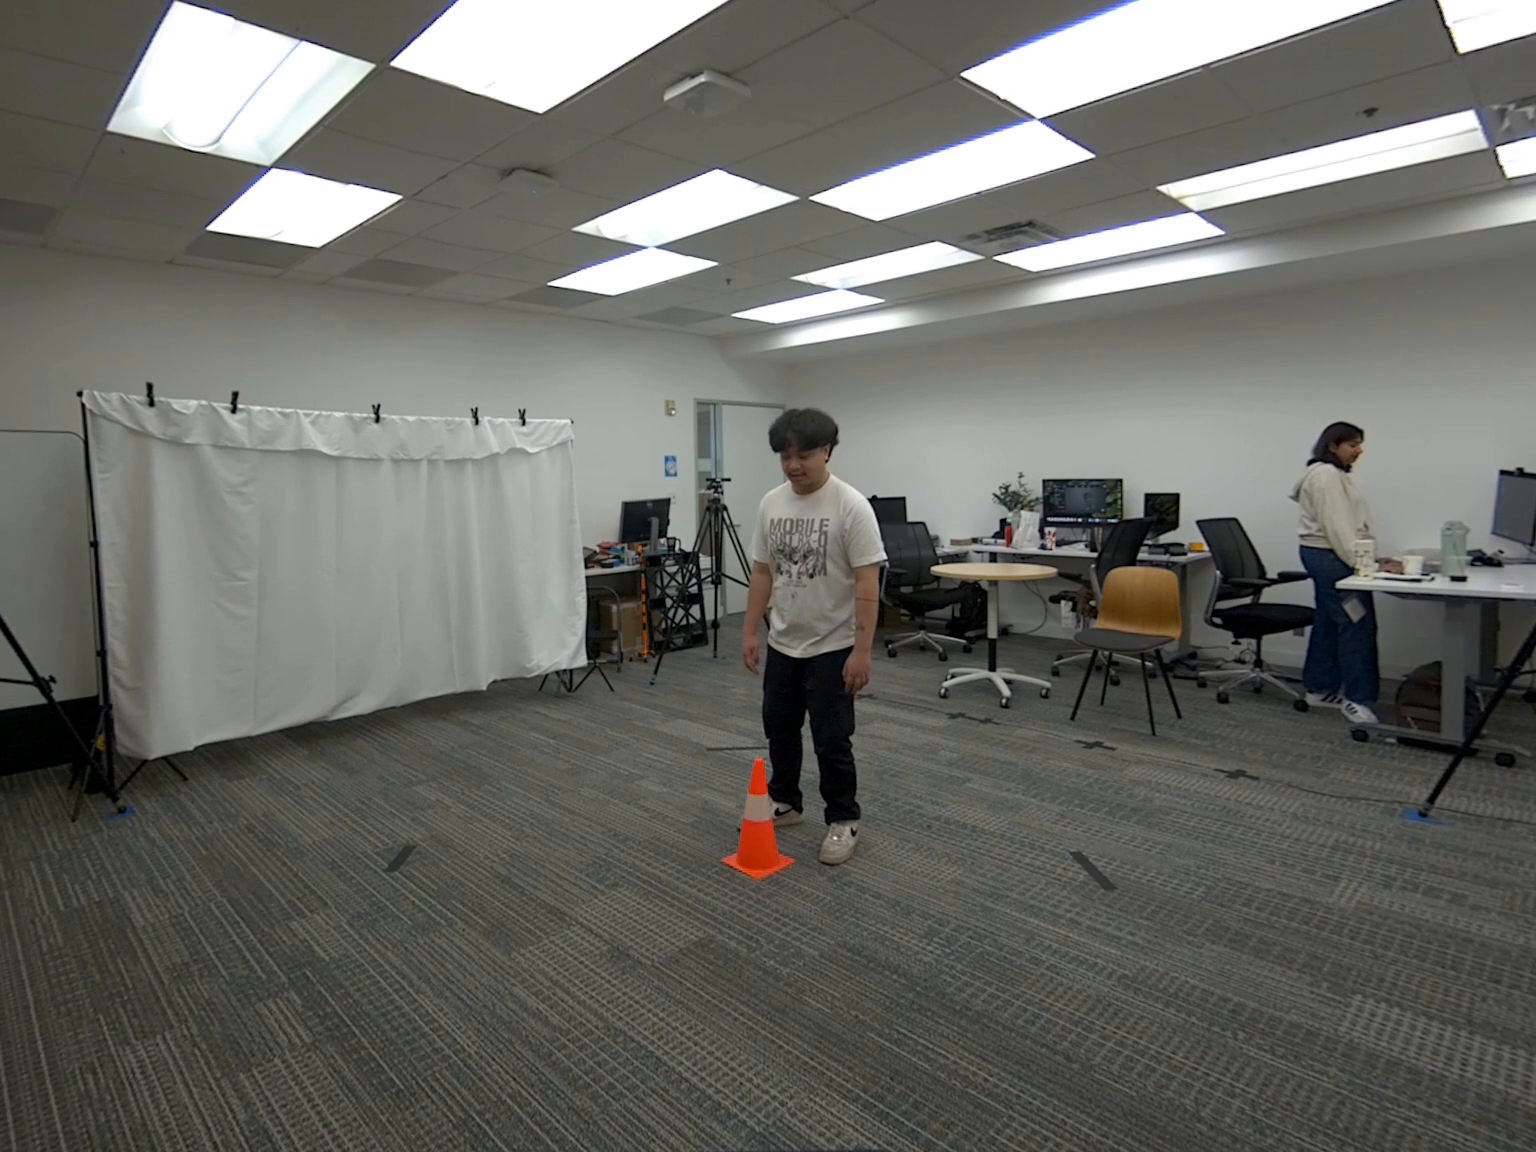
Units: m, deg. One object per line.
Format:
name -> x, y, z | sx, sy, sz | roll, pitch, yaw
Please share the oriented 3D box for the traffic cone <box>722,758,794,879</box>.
traffic cone -> -0.031, 0.856, 3.104 | 0.211, 0.382, 0.198 | 6, 8, 38
